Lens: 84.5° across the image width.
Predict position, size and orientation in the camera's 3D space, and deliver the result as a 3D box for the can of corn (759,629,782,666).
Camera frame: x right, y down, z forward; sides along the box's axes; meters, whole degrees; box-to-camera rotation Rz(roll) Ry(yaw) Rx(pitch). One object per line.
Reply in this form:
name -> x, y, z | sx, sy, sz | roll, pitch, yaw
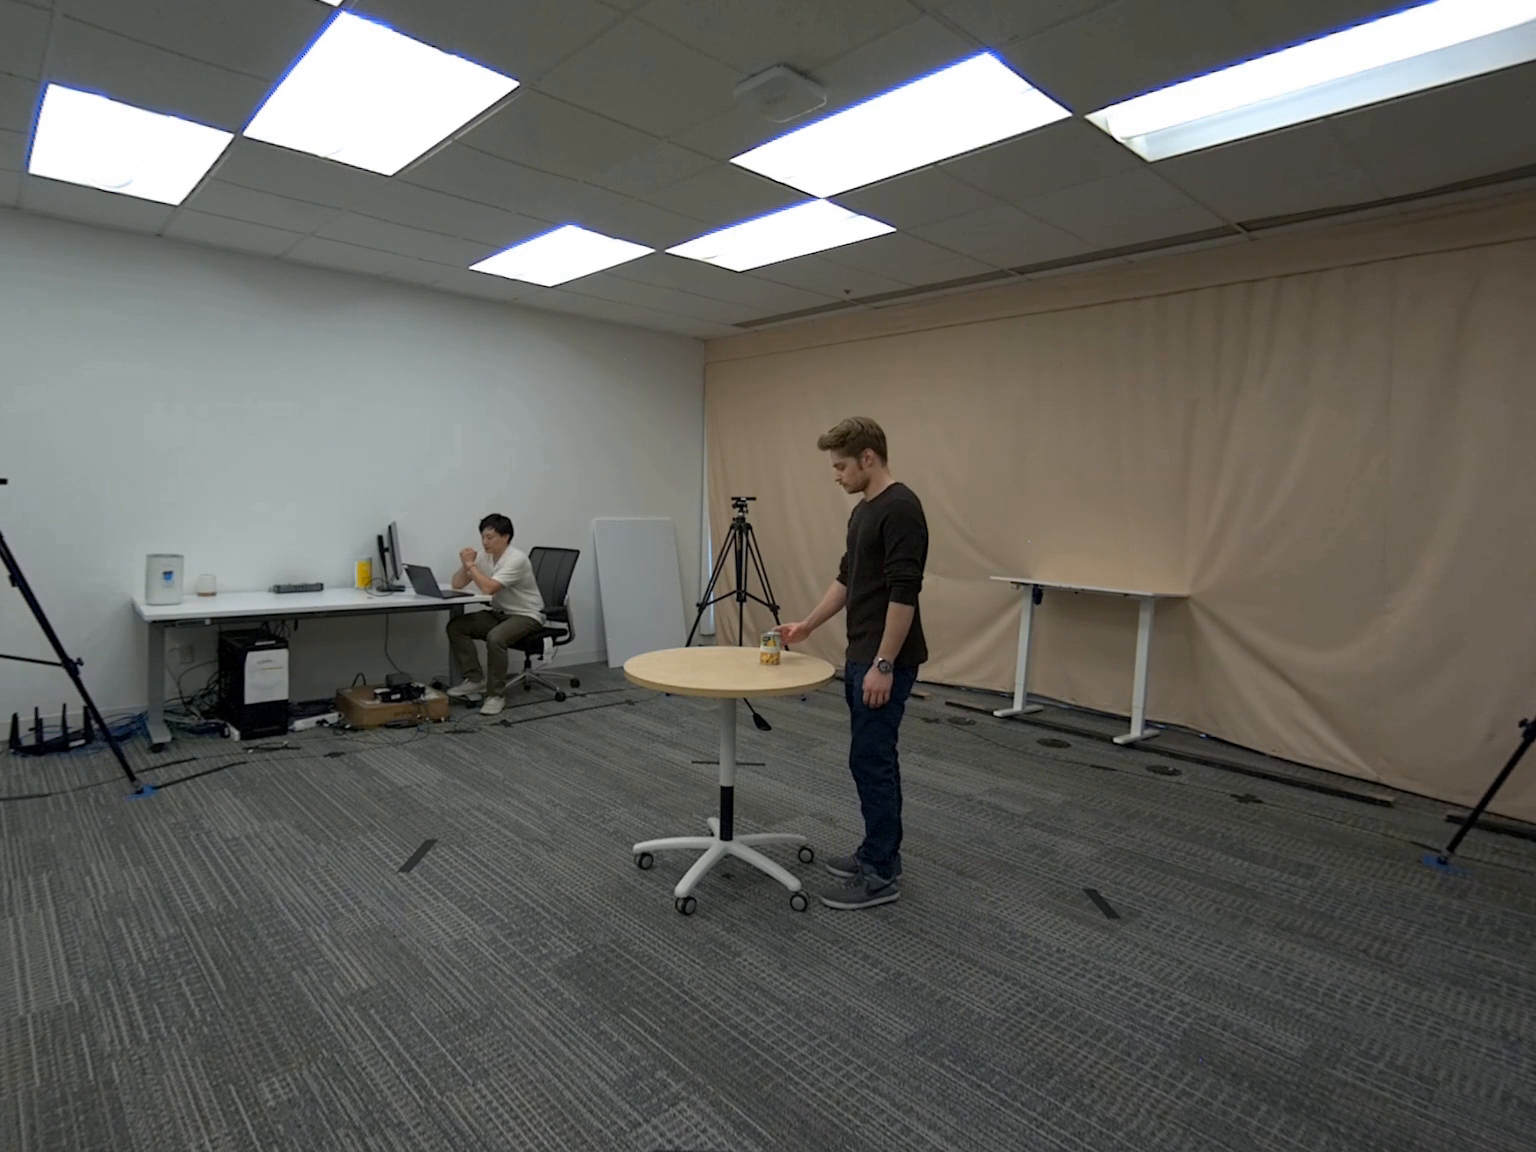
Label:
can of corn -> 0.002, 0.269, 3.119 | 0.074, 0.111, 0.074 | 3, 2, -1
